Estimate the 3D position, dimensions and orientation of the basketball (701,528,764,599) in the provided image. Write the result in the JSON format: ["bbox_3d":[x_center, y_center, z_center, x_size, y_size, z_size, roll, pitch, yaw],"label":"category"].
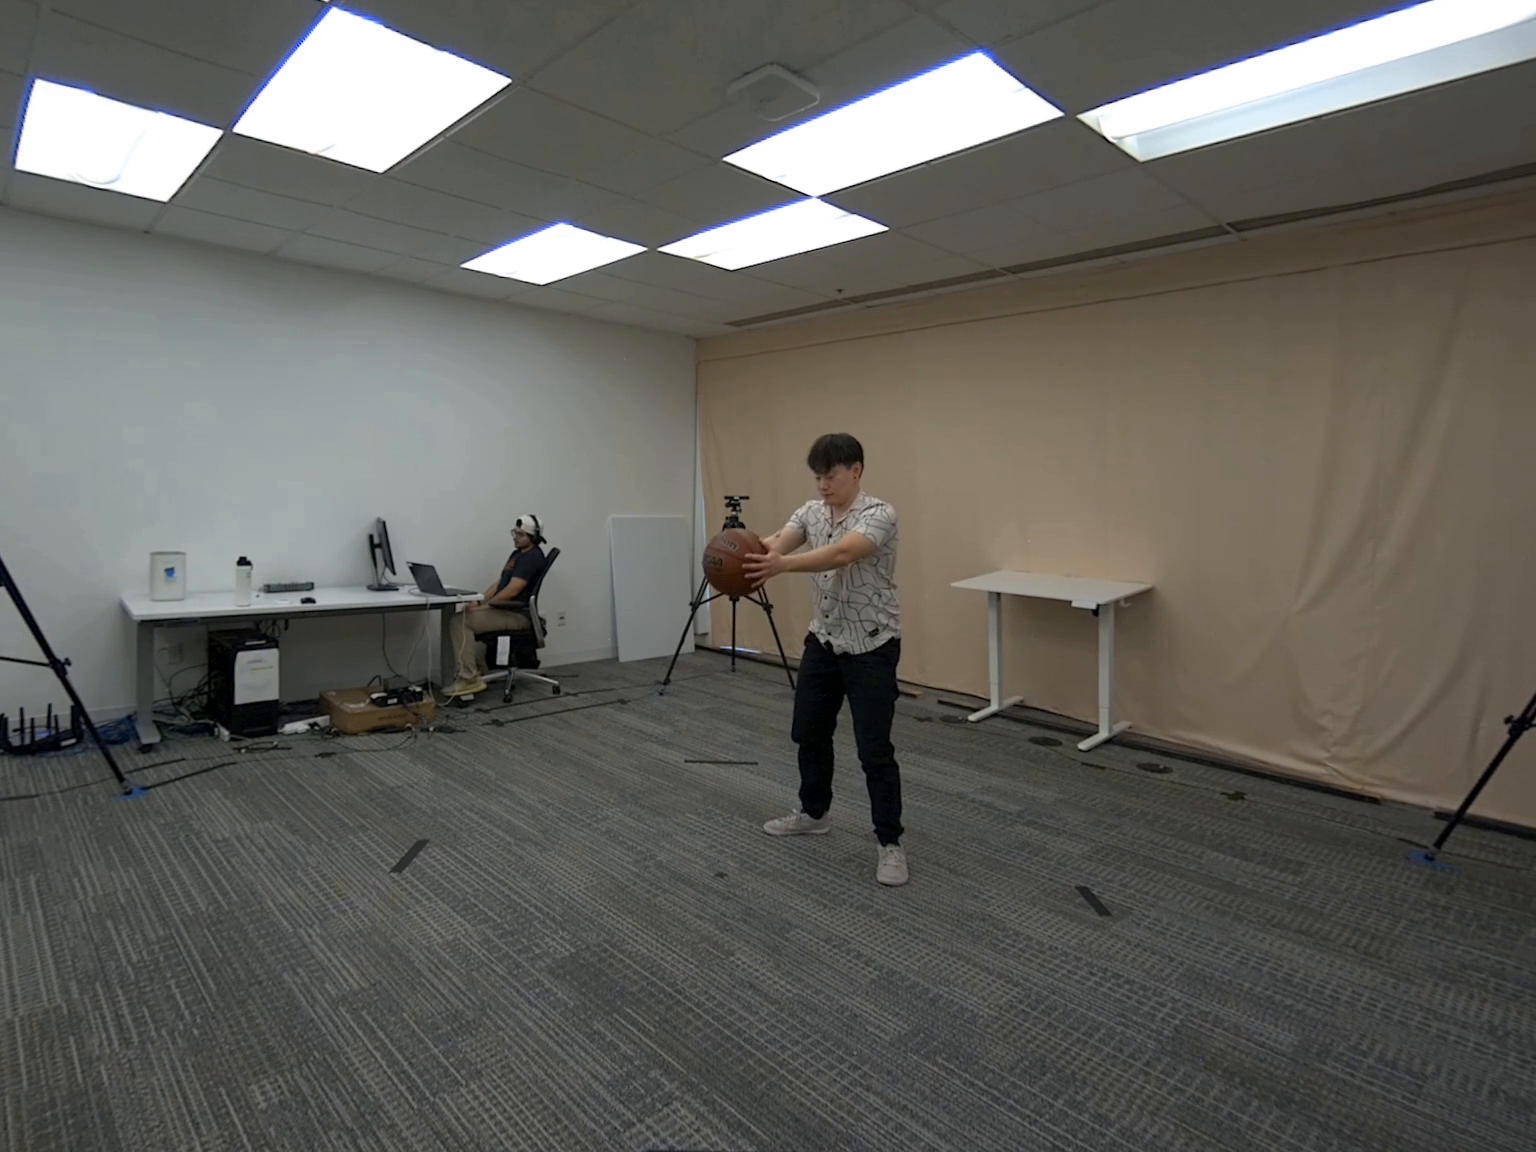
[{"bbox_3d":[-0.114,-0.040,2.919,0.236,0.235,0.237,1,4,-1],"label":"basketball"}]
